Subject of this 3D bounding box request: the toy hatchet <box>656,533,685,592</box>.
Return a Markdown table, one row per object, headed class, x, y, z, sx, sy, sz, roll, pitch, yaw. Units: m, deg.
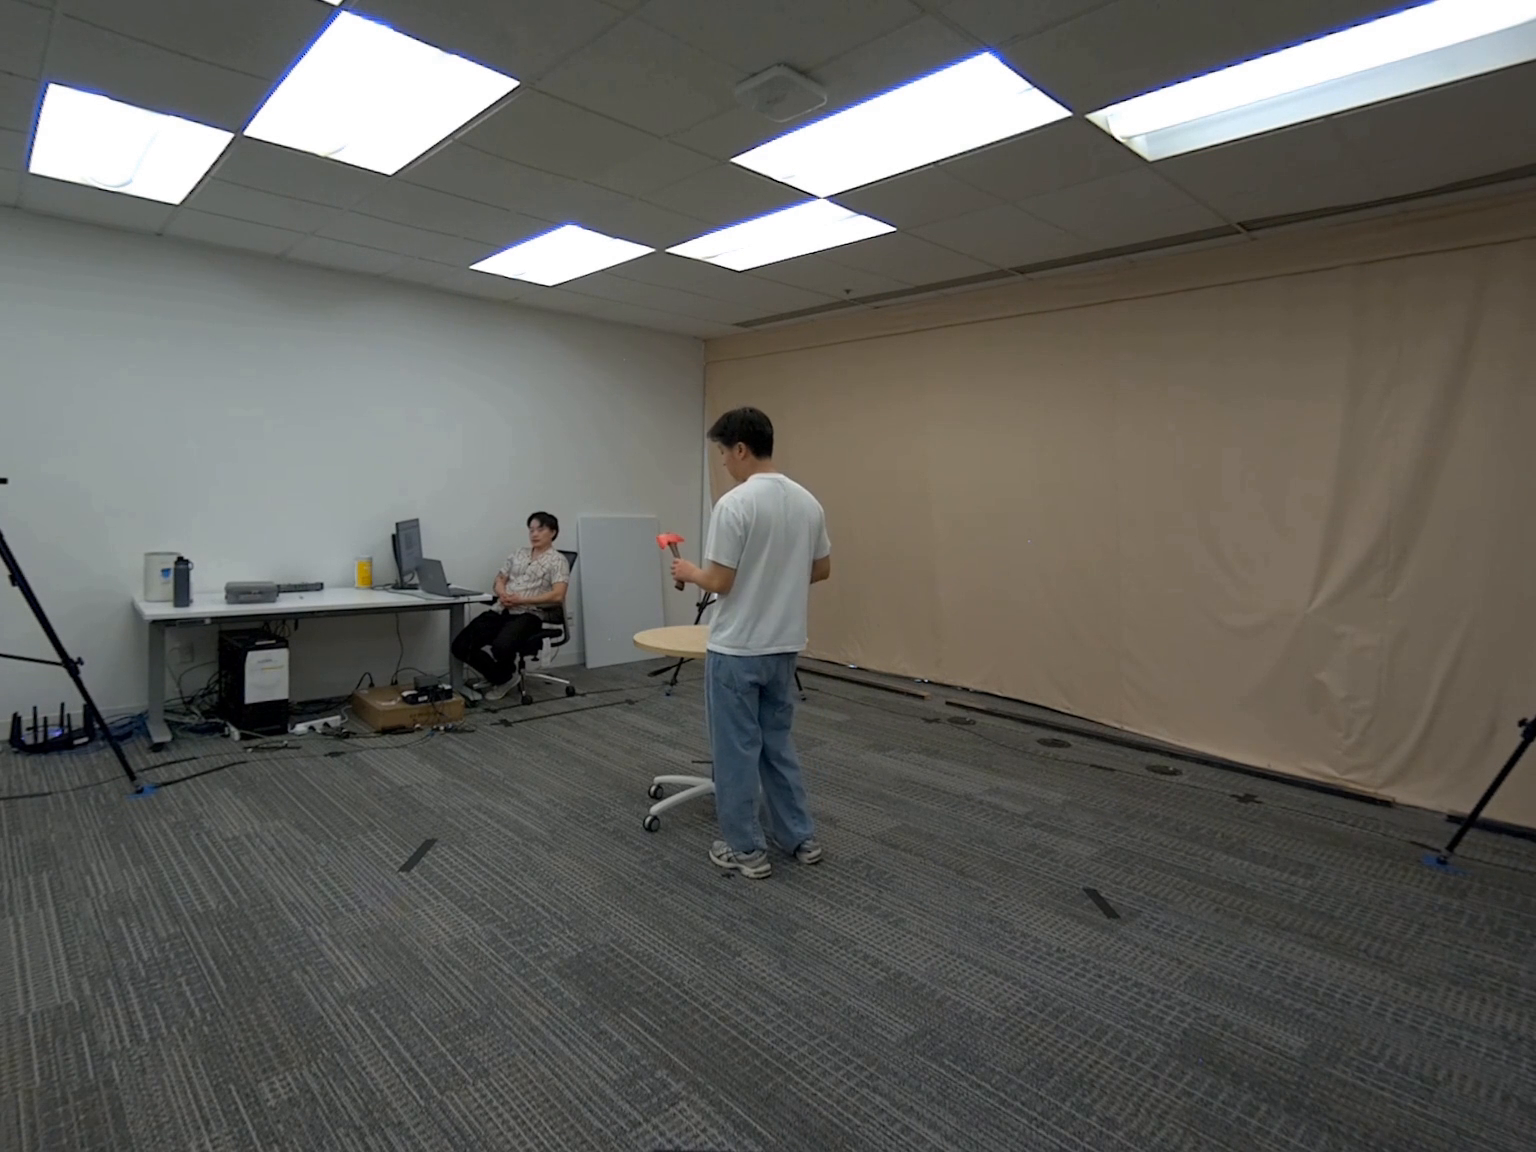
| class | x | y | z | sx | sy | sz | roll | pitch | yaw |
| --- | --- | --- | --- | --- | --- | --- | --- | --- | --- |
| toy hatchet | -0.378 | -0.065 | 3.299 | 0.128 | 0.277 | 0.029 | 23 | -50 | -29 |
